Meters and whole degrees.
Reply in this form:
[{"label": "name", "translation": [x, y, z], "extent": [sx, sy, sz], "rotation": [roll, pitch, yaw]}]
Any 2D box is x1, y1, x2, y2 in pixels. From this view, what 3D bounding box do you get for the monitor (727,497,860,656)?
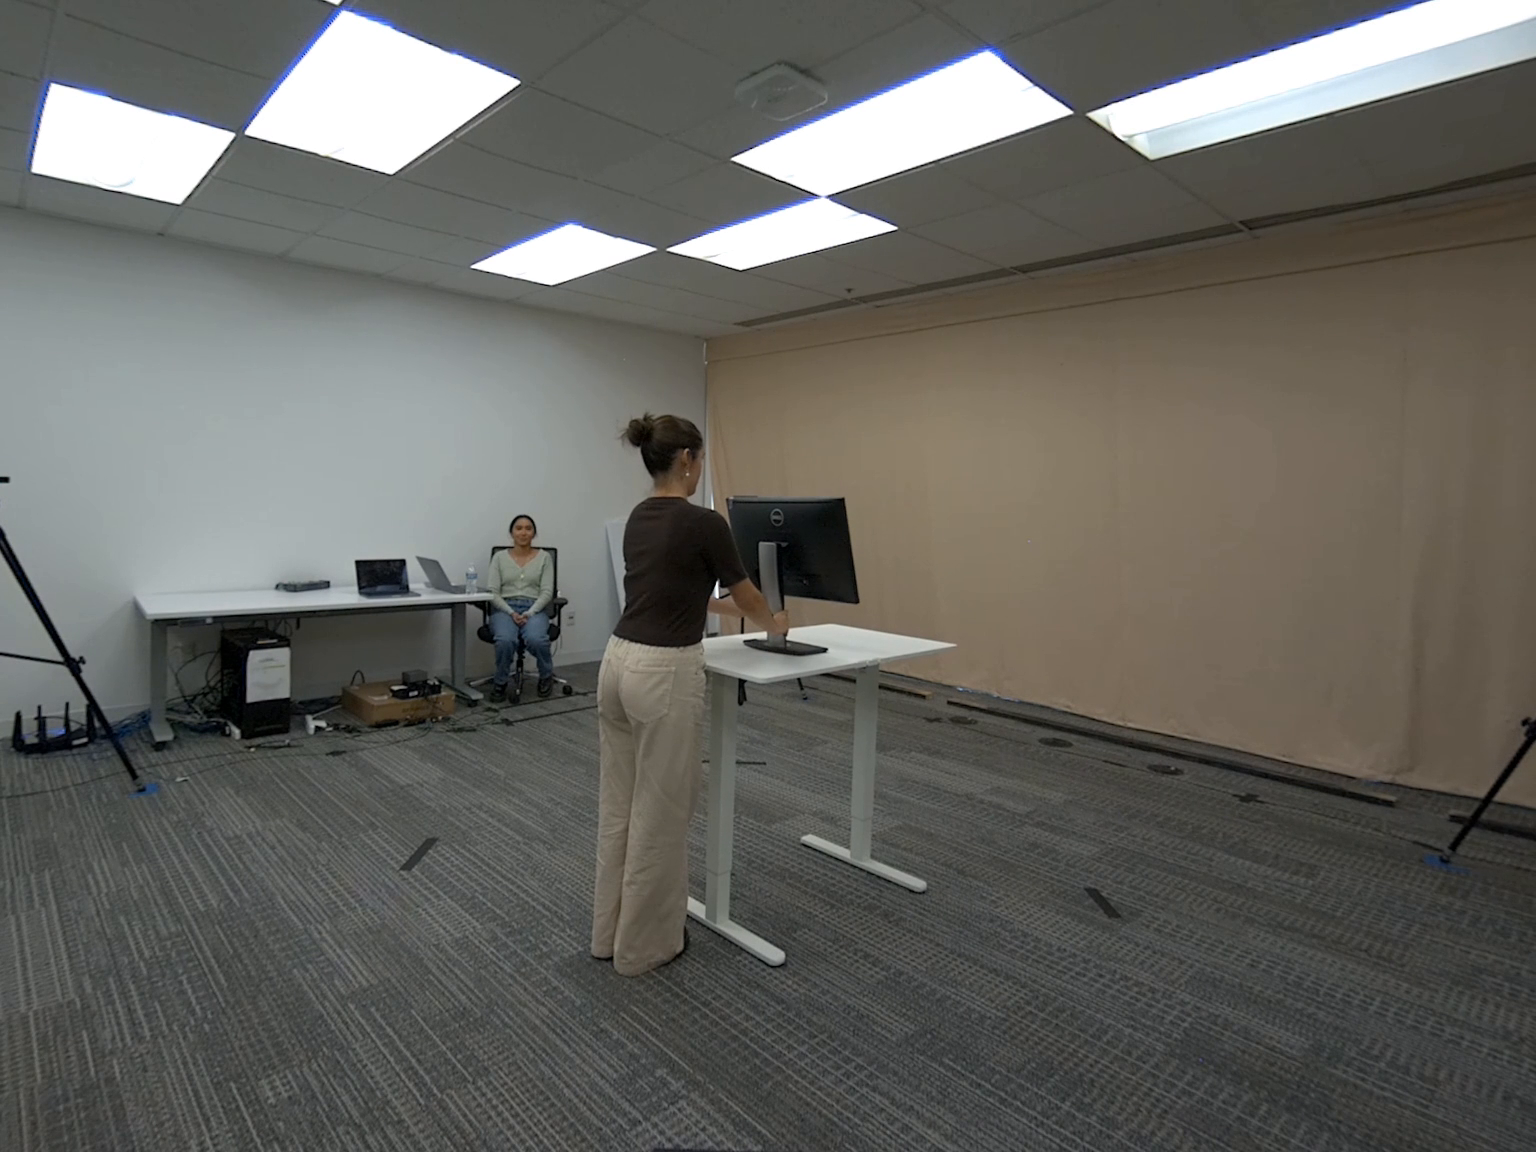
[{"label": "monitor", "translation": [0.049, -0.007, 2.843], "extent": [0.543, 0.516, 0.170], "rotation": [4, 0, 44]}]
